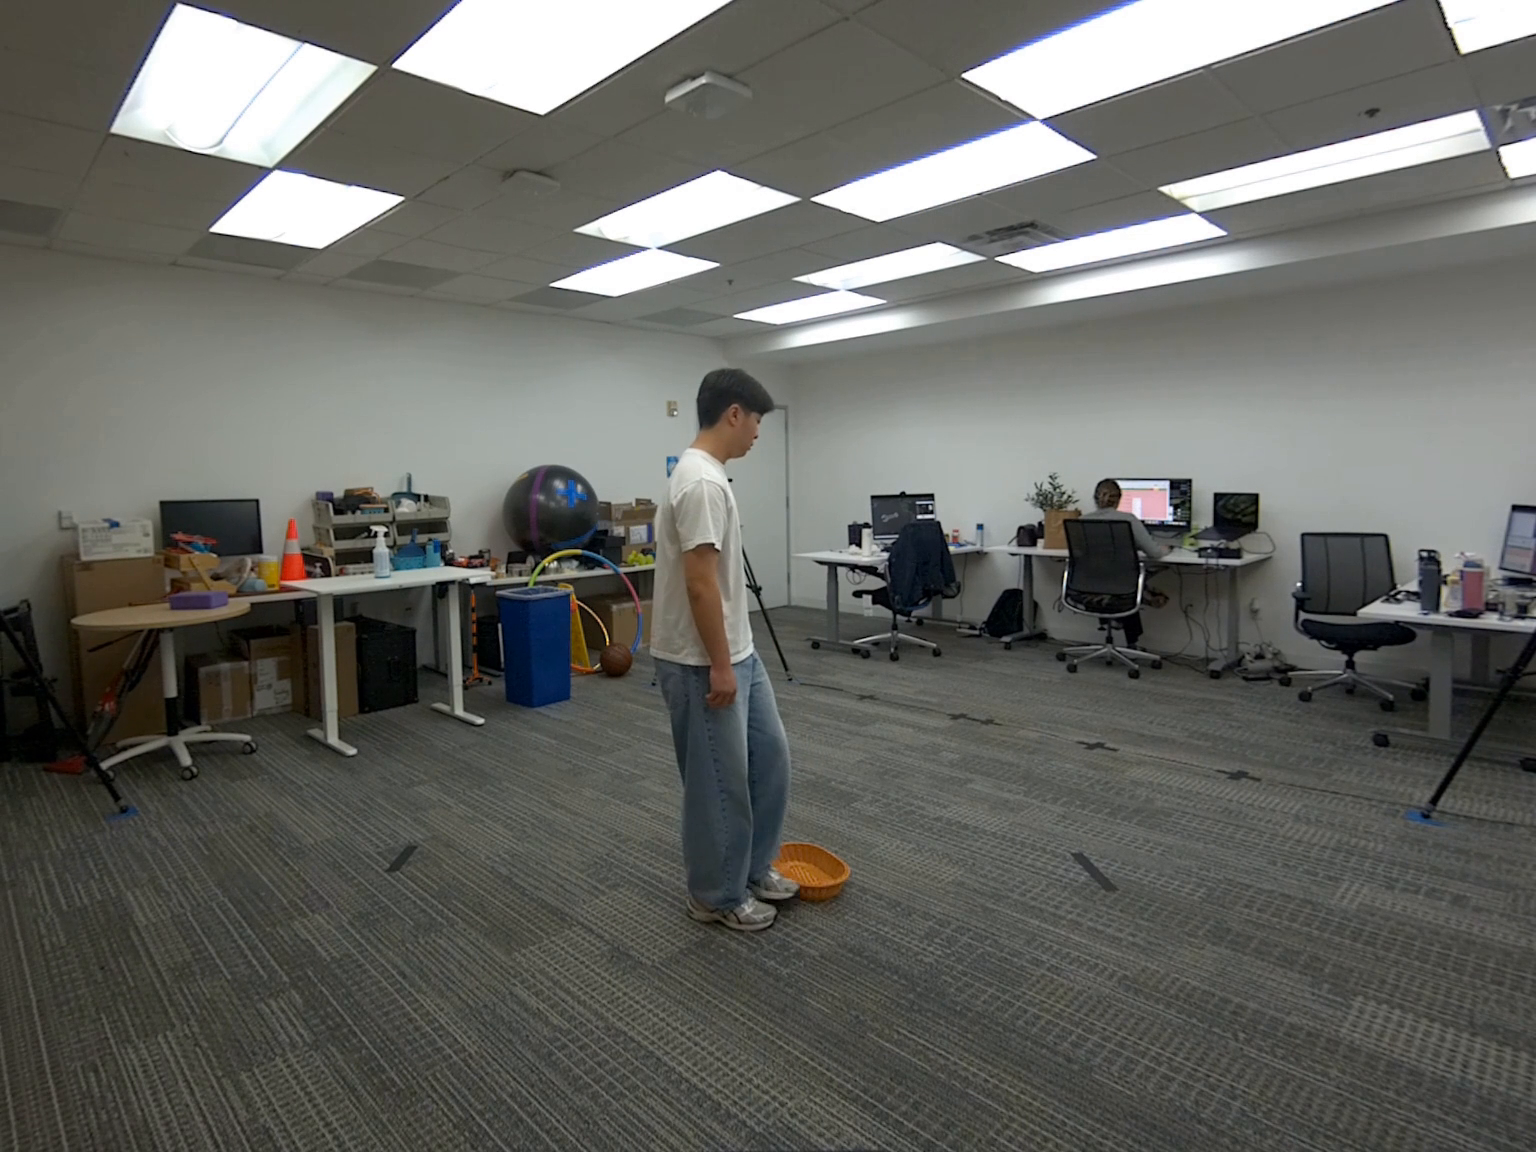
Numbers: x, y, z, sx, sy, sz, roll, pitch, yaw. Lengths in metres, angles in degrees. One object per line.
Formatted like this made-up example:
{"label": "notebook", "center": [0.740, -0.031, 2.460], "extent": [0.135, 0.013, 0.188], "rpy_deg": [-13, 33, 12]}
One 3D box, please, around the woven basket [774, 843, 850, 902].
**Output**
{"label": "woven basket", "center": [0.135, 1.019, 2.958], "extent": [0.247, 0.073, 0.360], "rpy_deg": [-4, 7, -27]}
